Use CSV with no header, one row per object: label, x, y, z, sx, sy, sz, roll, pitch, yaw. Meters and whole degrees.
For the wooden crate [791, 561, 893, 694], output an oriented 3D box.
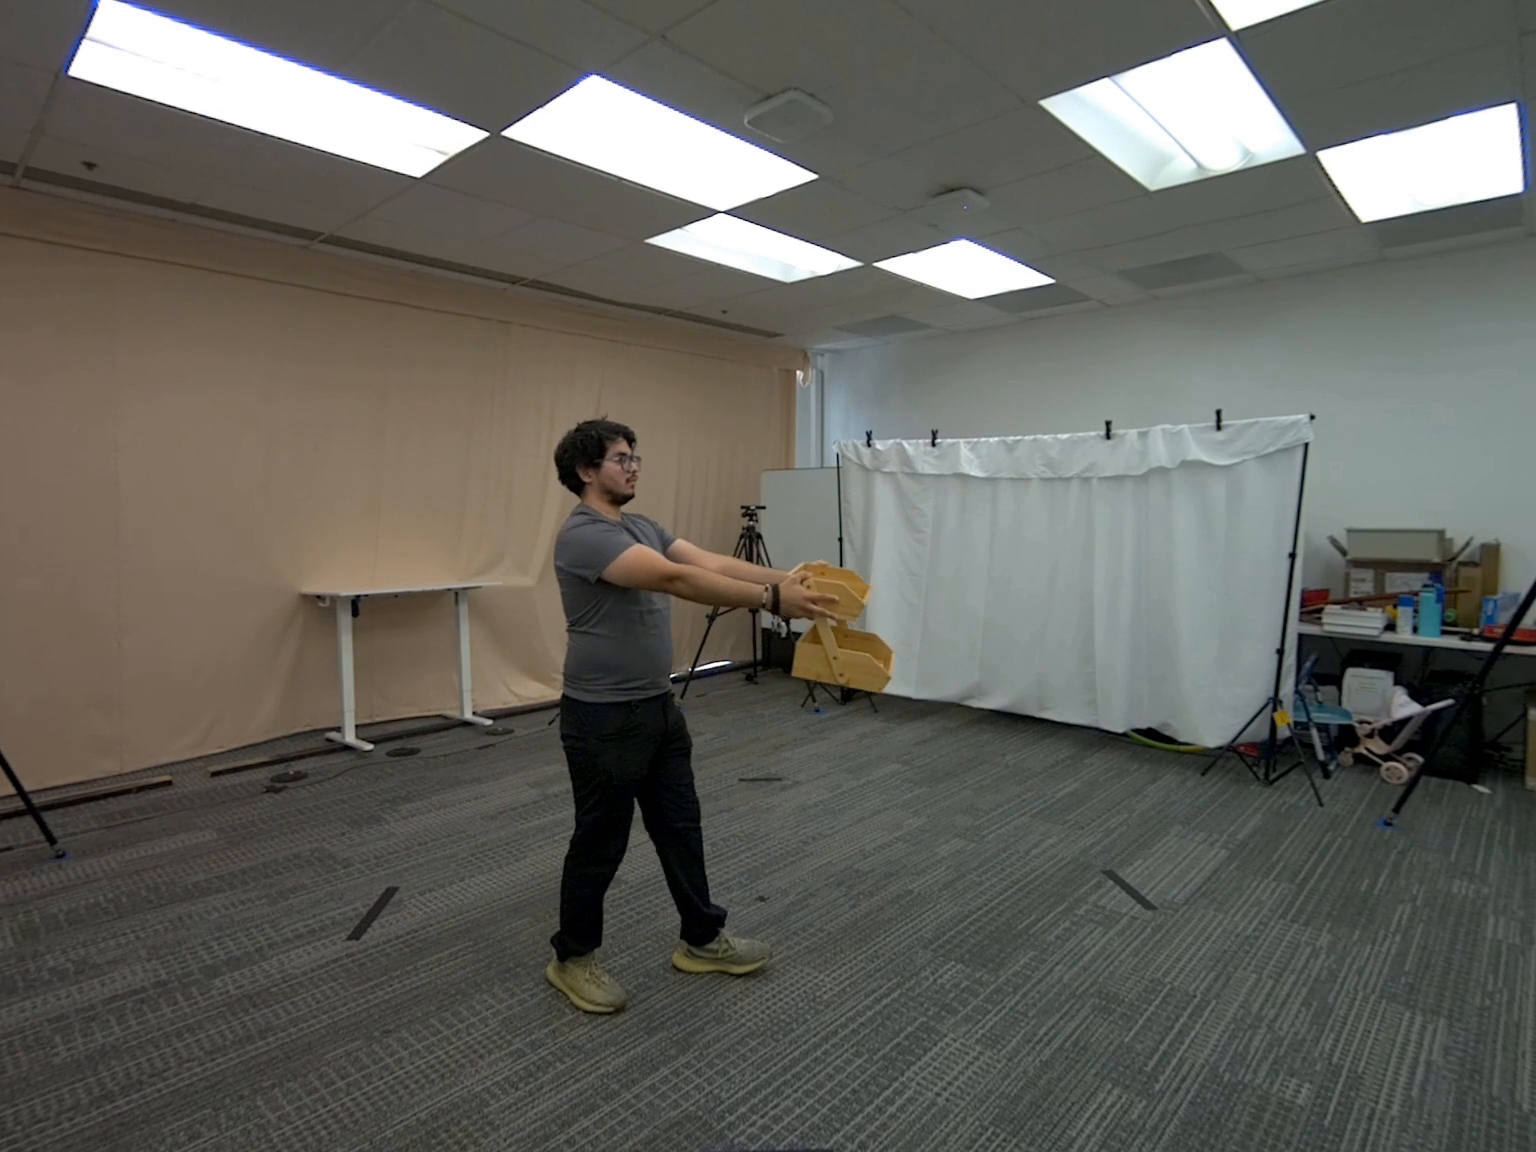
wooden crate,0.217,0.126,2.263,0.306,0.272,0.322,8,8,9
